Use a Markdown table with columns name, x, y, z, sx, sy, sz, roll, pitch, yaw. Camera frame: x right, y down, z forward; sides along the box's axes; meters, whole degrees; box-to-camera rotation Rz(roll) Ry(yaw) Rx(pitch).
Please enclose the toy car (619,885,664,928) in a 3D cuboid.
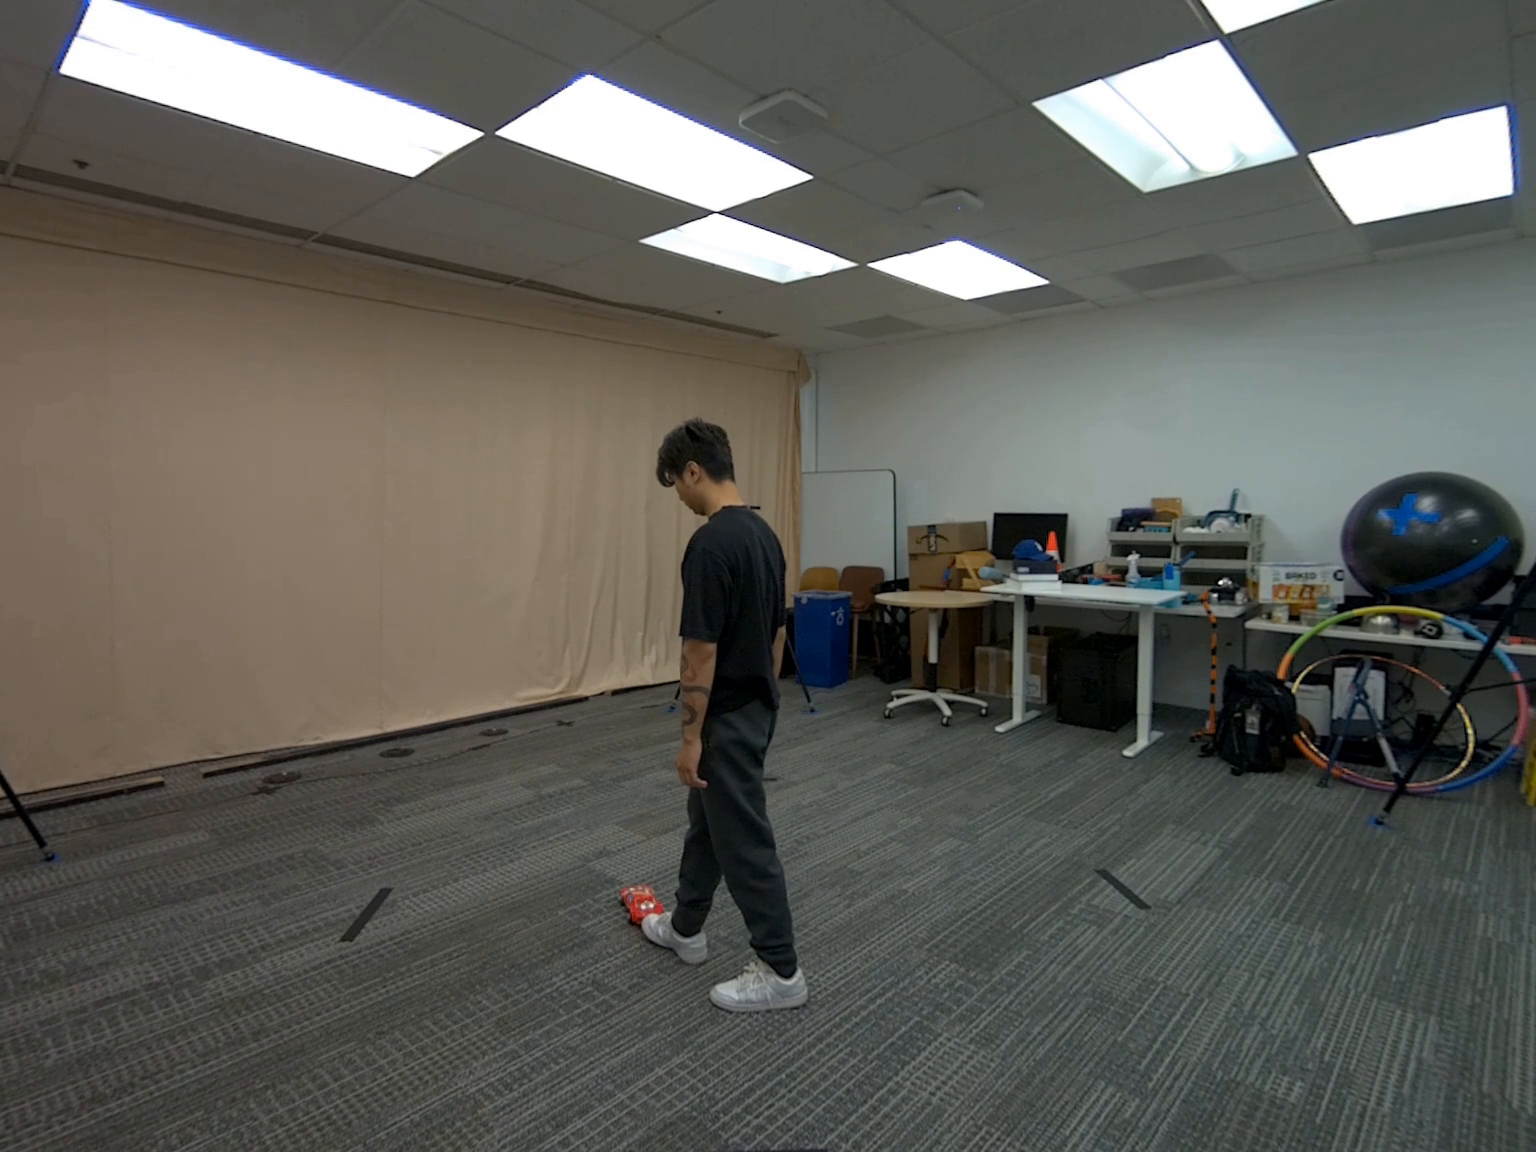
| name | x | y | z | sx | sy | sz | roll | pitch | yaw |
| --- | --- | --- | --- | --- | --- | --- | --- | --- | --- |
| toy car | -0.426 | 1.125 | 2.861 | 0.128 | 0.083 | 0.258 | -3 | -6 | -20 |
